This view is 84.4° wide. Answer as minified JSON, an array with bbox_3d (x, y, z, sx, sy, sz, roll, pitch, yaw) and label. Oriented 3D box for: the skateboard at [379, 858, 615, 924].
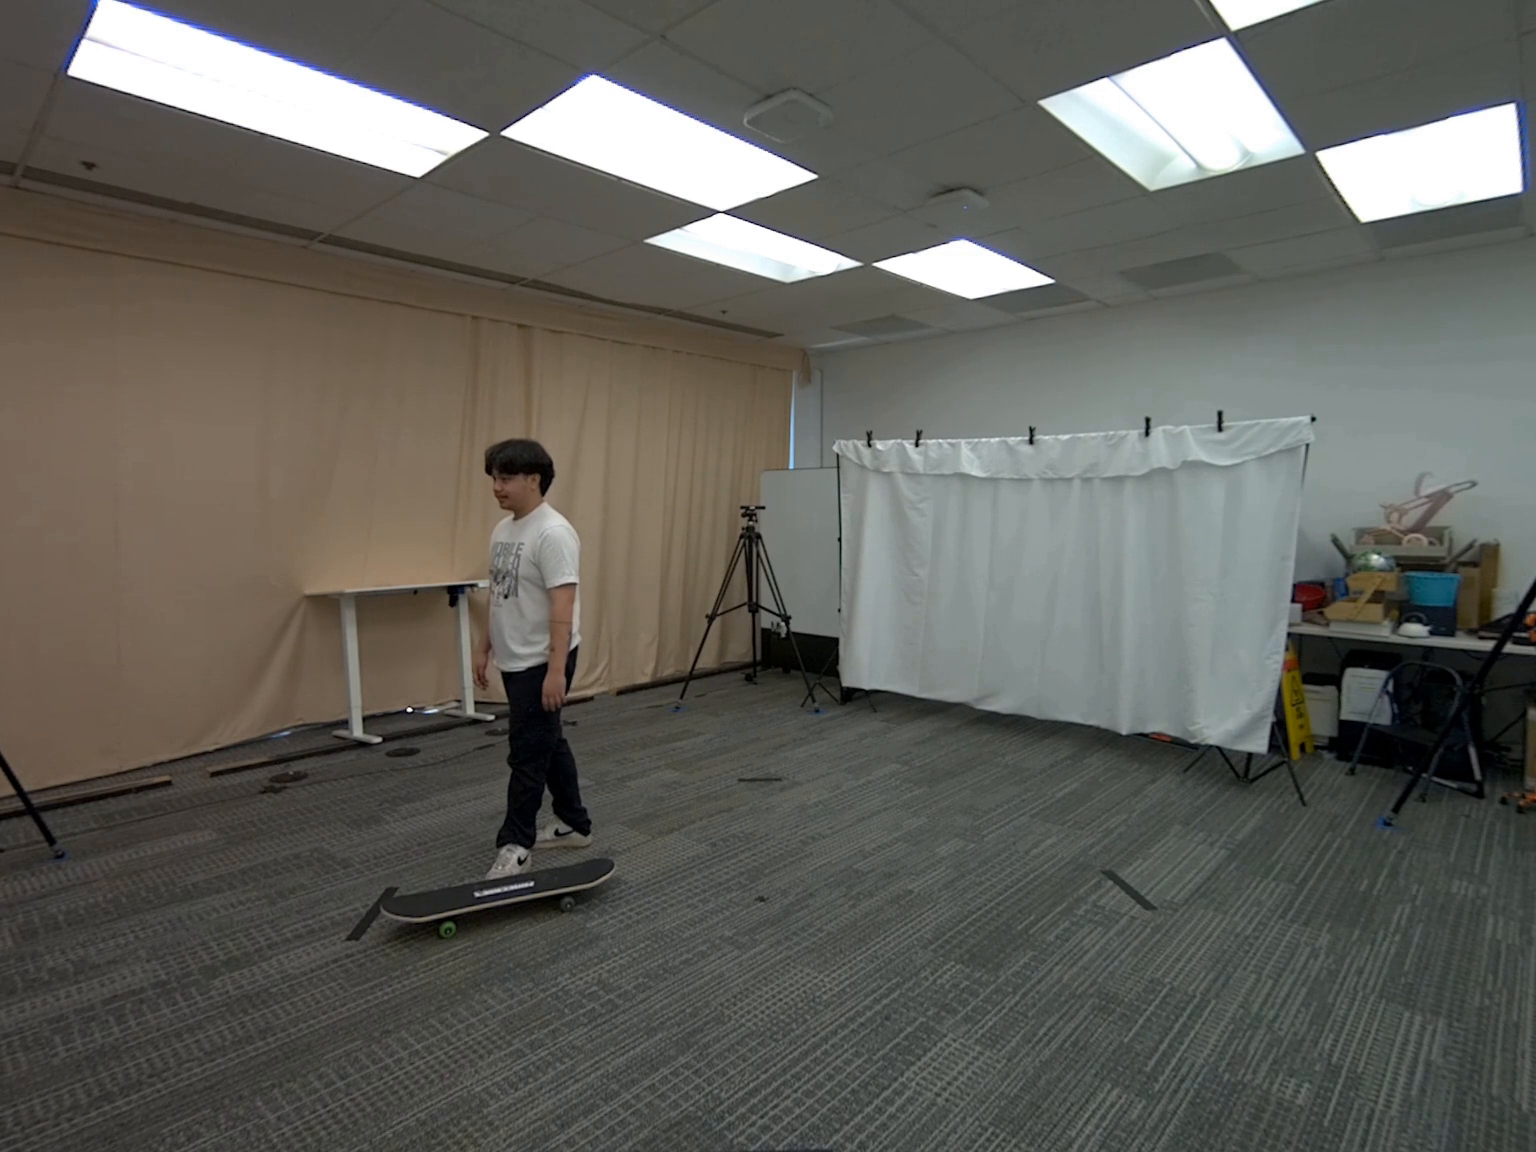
[{"bbox_3d":[-0.904,1.107,2.880,0.767,0.110,0.198,-3,5,-25],"label":"skateboard"}]
